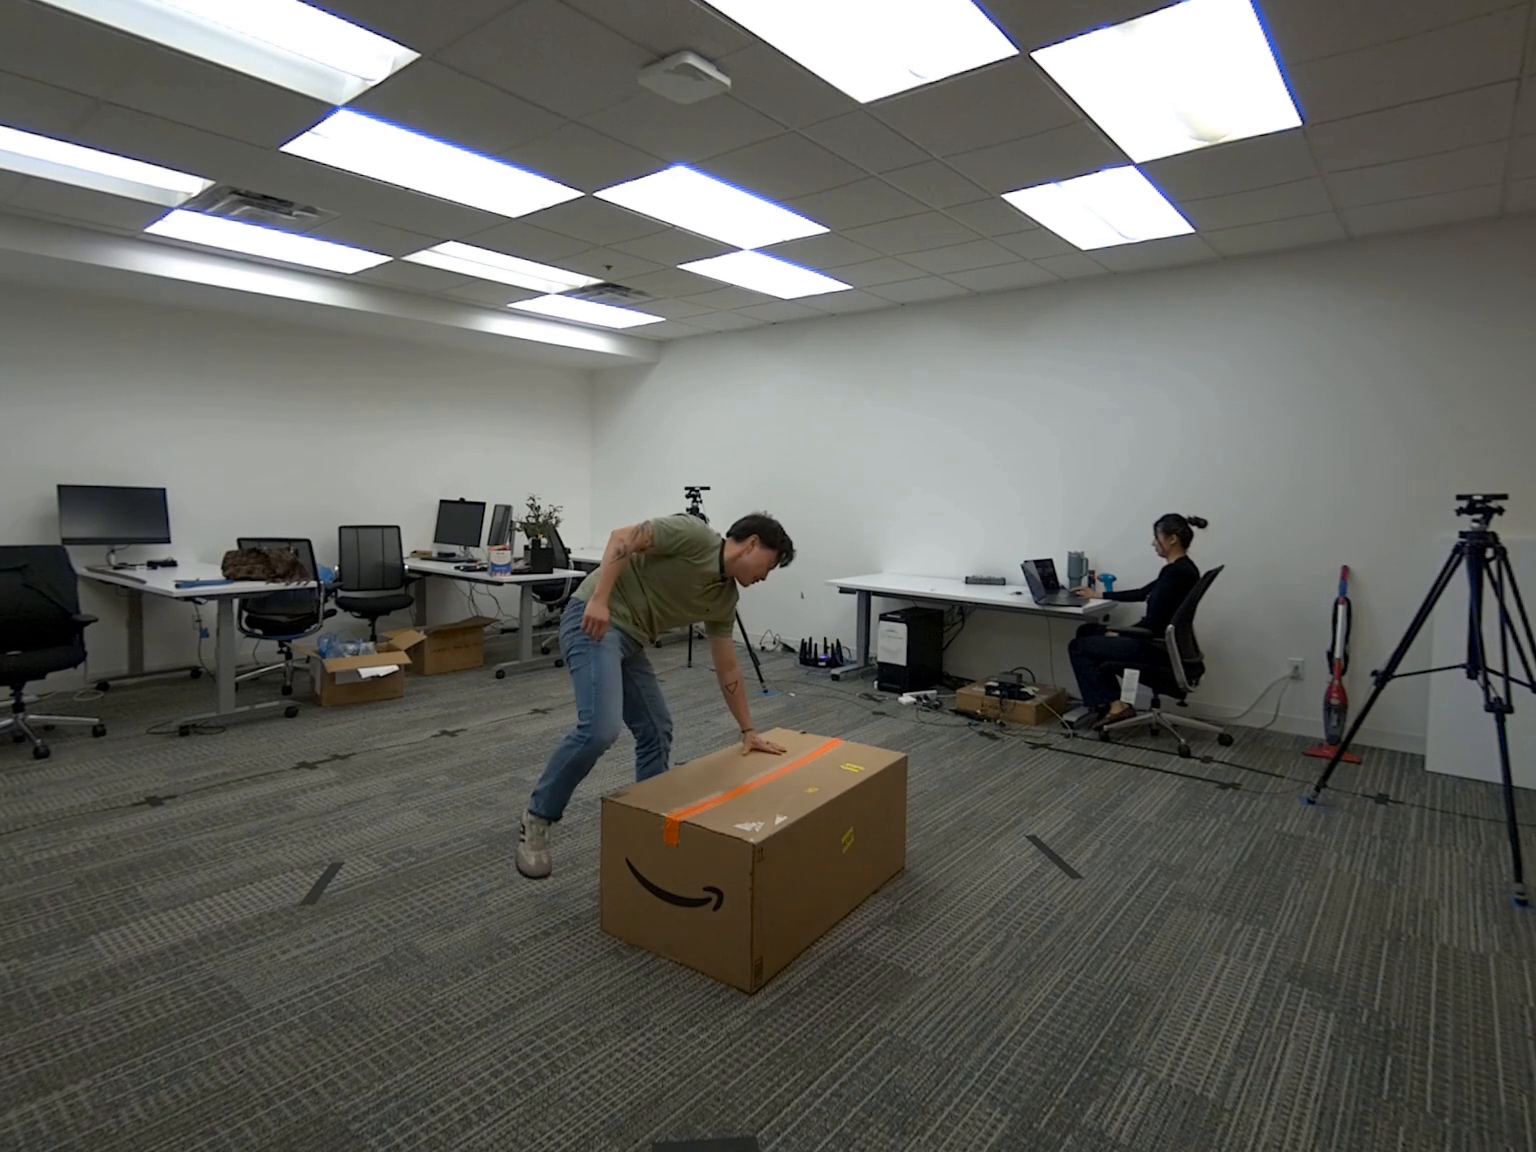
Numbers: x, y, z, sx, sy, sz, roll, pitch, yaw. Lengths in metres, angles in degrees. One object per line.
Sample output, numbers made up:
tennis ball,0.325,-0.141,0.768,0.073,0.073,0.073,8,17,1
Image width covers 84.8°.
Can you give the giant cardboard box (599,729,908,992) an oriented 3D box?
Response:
giant cardboard box,-0.012,0.879,2.891,0.596,0.424,0.998,5,6,34
